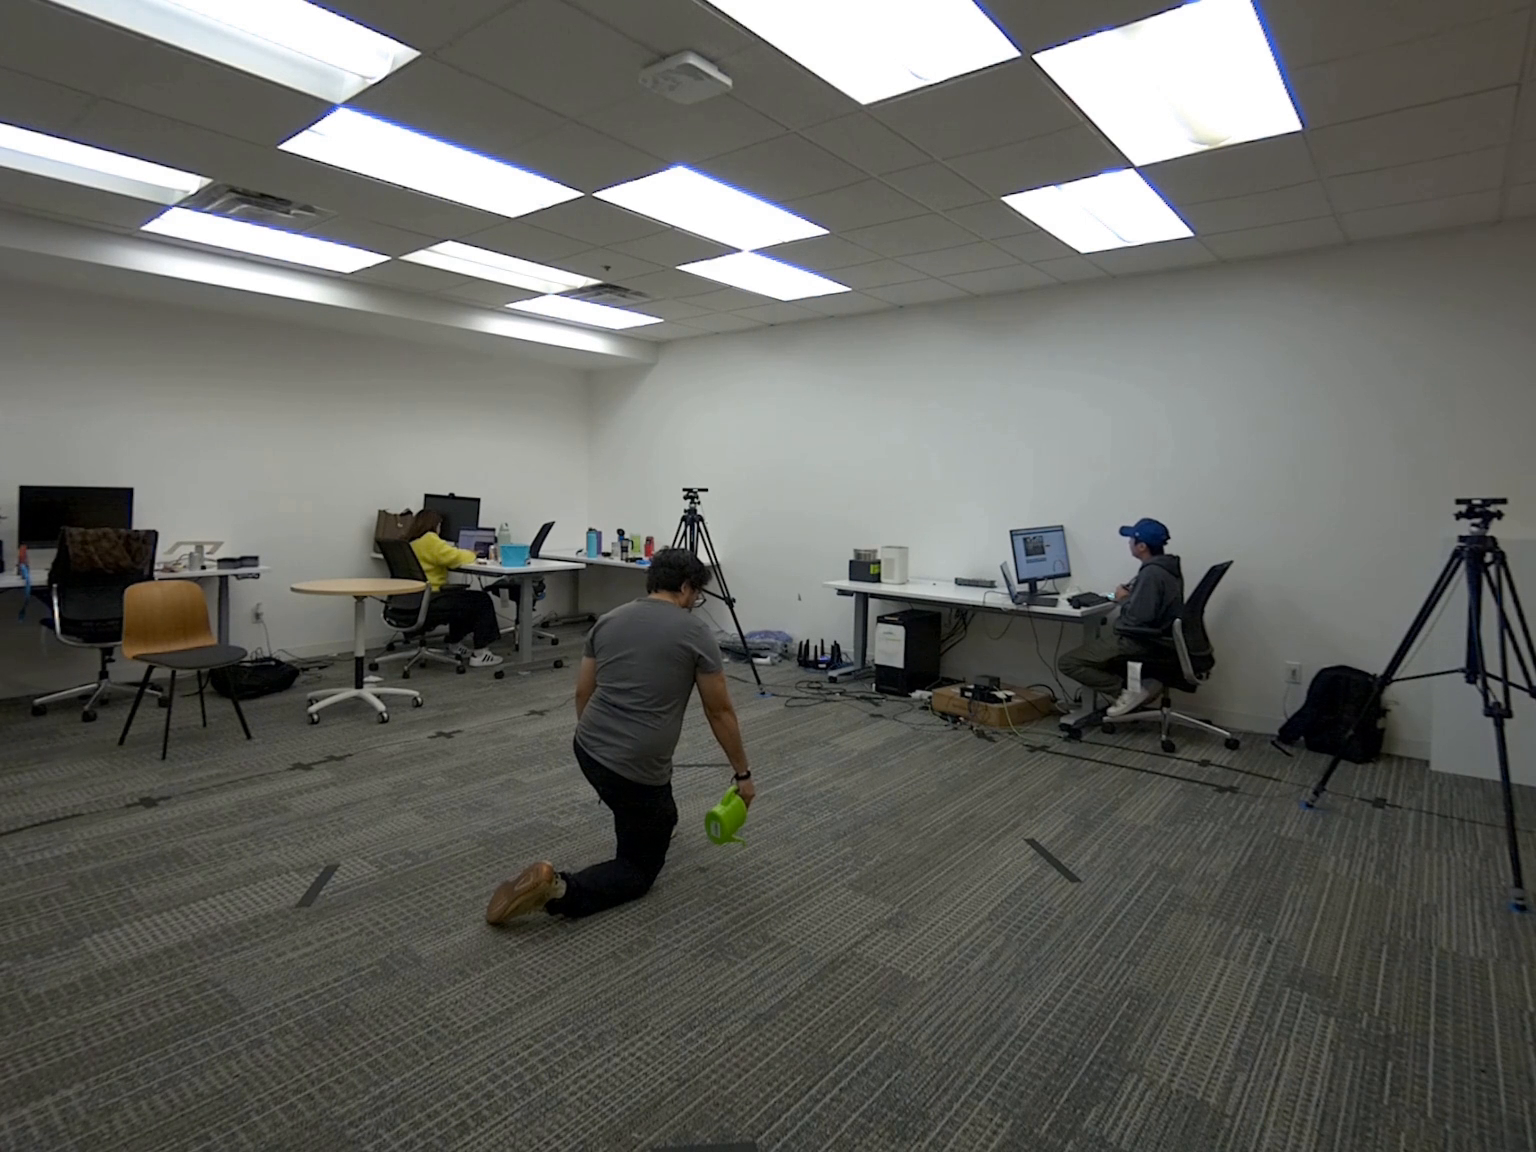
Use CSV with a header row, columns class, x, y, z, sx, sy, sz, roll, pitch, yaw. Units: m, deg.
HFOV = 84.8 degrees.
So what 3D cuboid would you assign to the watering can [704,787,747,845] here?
class,x,y,z,sx,sy,sz,roll,pitch,yaw
watering can,-0.140,0.884,2.998,0.101,0.275,0.174,-5,13,37
